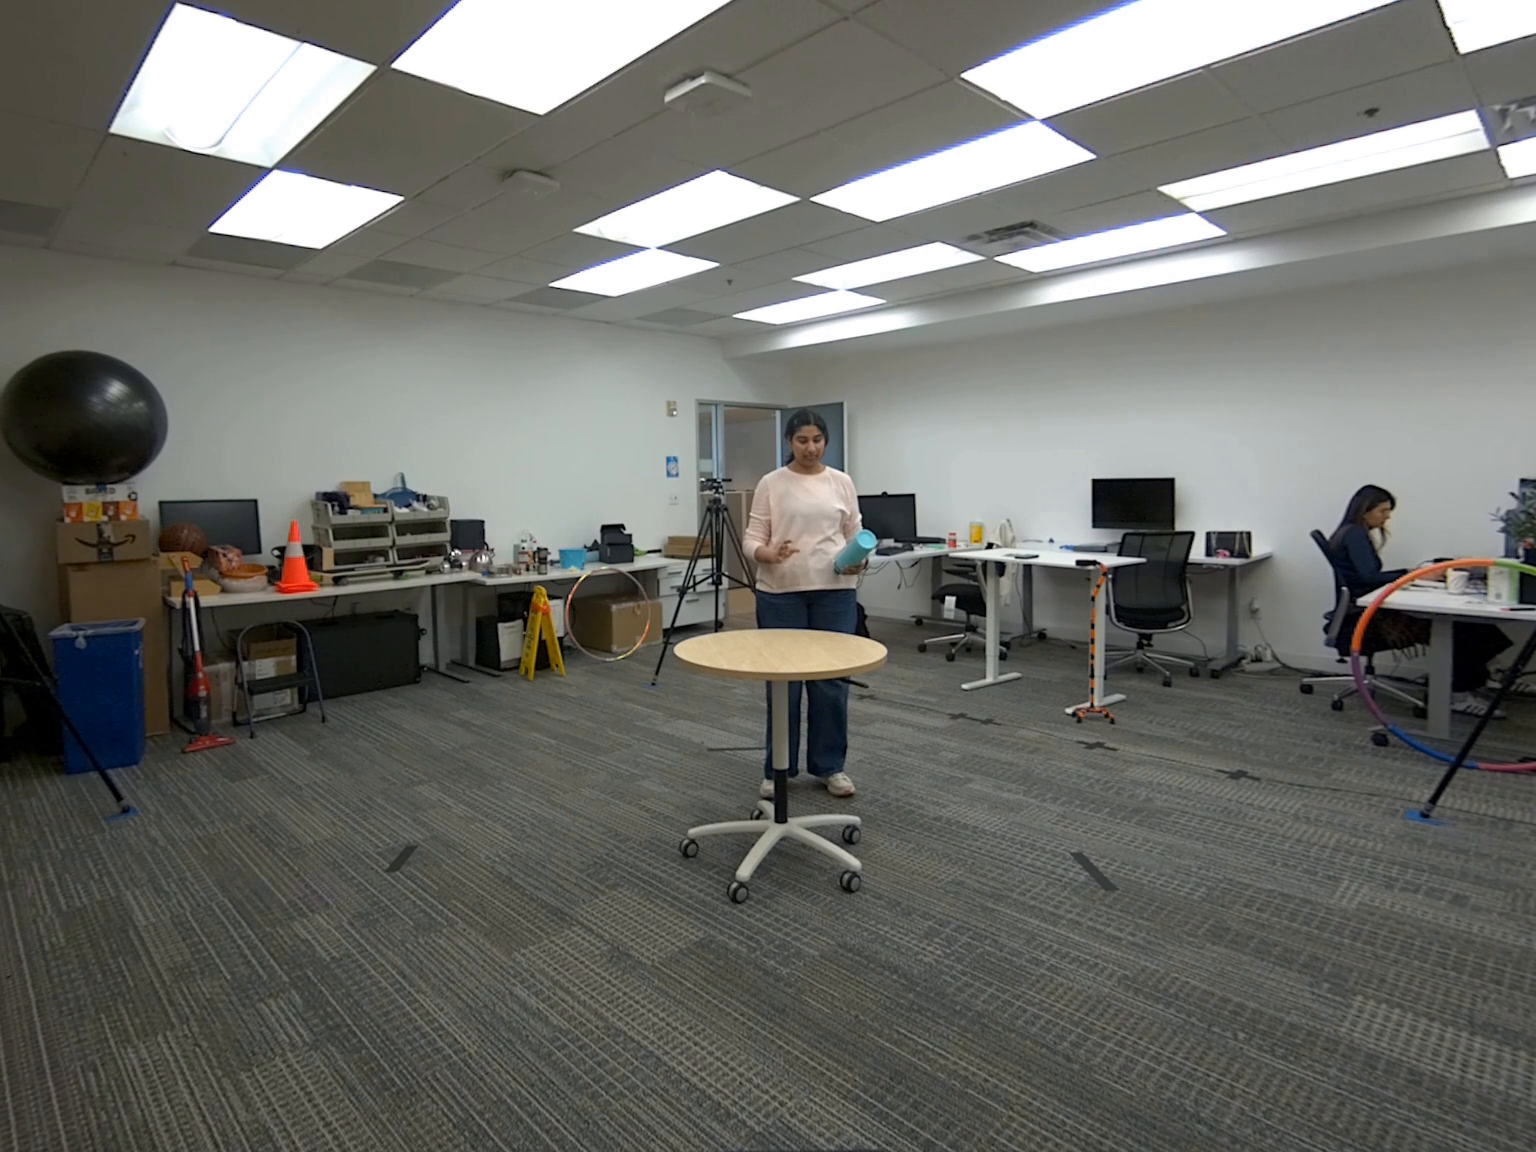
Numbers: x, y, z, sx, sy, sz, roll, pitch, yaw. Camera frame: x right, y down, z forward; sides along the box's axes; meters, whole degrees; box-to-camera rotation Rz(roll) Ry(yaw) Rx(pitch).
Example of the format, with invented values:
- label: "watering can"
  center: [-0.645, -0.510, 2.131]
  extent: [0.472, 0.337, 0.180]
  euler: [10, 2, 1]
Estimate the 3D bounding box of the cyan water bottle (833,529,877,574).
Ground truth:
- label: "cyan water bottle"
  center: [0.329, -0.088, 3.526]
  extent: [0.091, 0.094, 0.281]
  euler: [-2, -25, -19]
